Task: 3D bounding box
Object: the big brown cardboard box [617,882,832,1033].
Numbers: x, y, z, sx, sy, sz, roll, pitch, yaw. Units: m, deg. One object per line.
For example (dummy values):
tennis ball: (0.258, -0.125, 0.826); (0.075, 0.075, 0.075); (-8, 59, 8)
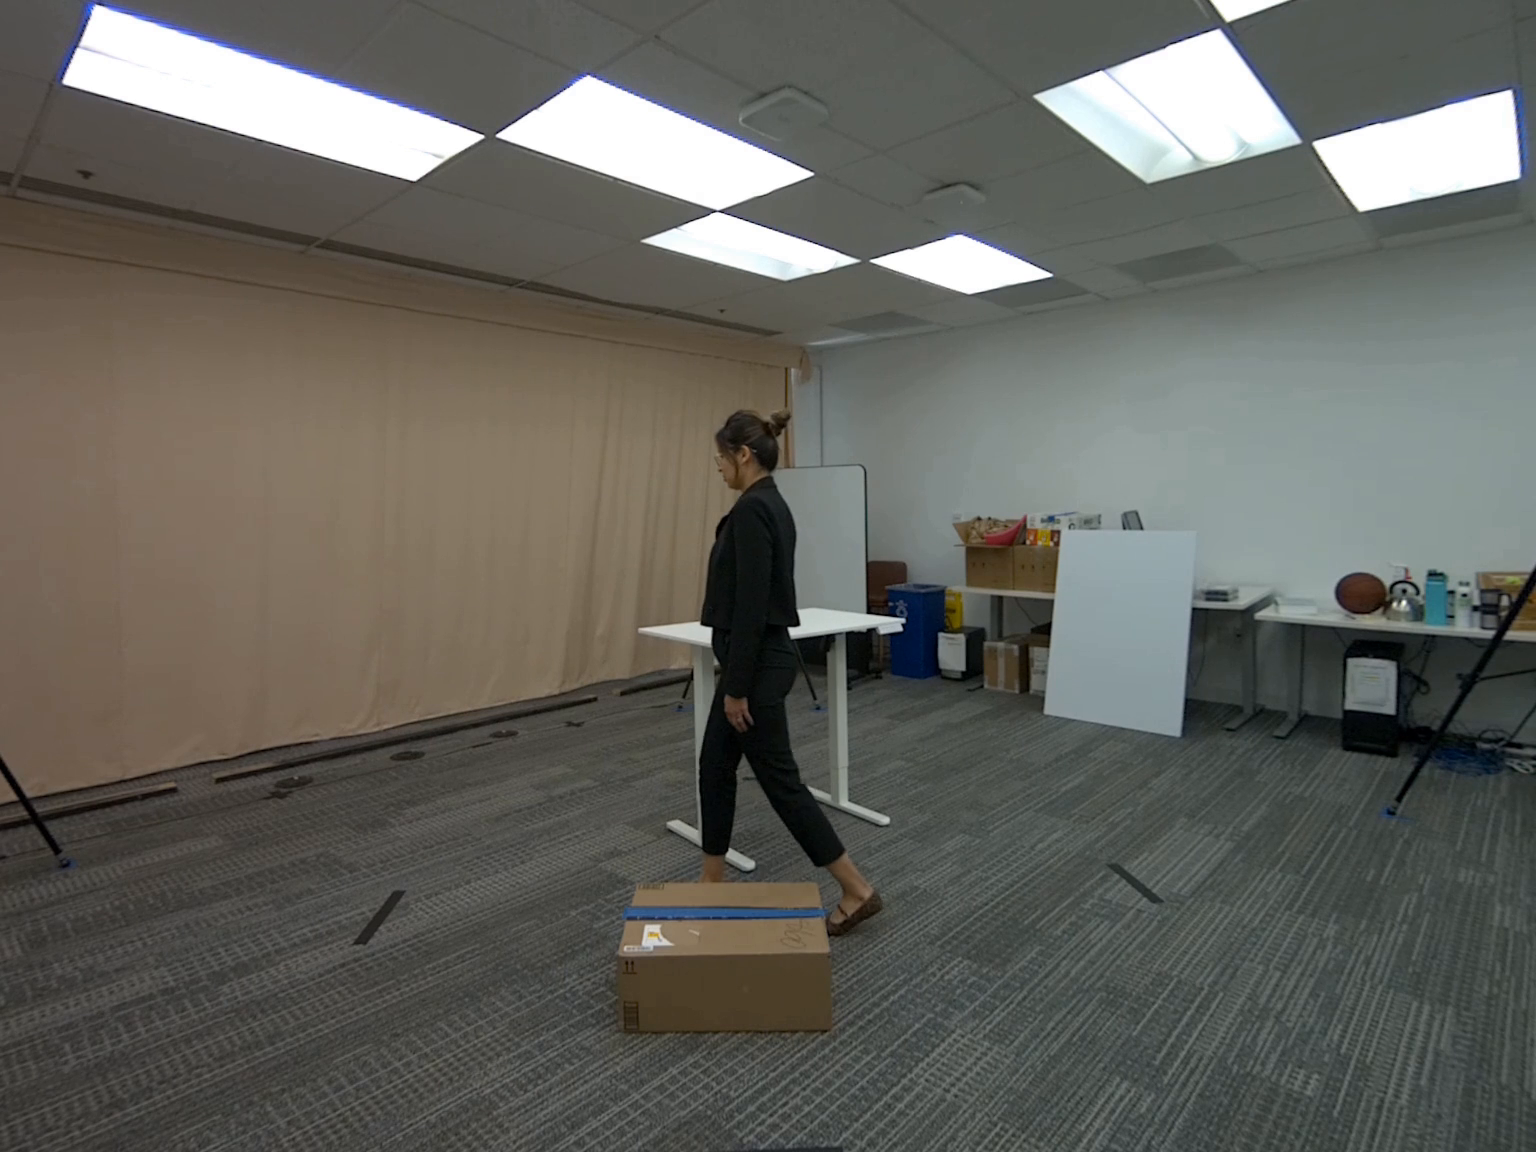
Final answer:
big brown cardboard box: (-0.123, 1.084, 2.421); (0.589, 0.232, 0.419); (0, 6, 0)
